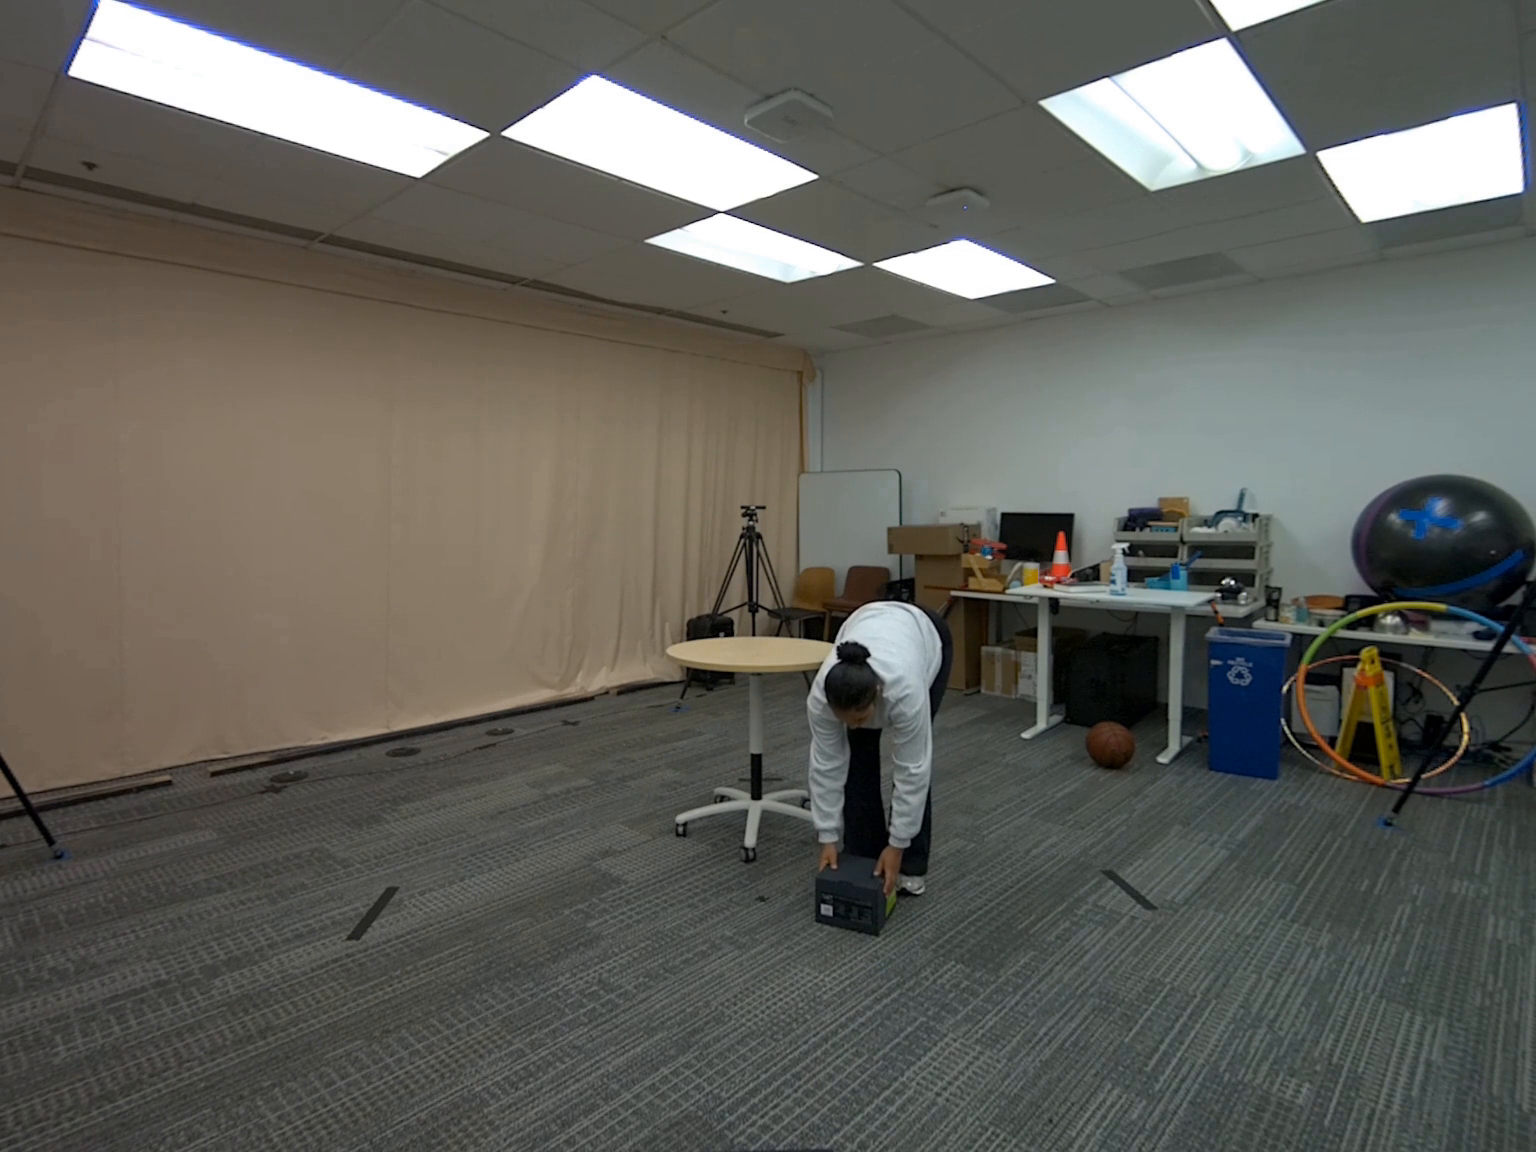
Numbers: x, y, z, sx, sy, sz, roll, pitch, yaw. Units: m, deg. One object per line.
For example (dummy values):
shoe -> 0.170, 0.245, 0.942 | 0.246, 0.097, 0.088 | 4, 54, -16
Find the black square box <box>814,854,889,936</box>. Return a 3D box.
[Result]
black square box -> 0.305, 1.063, 2.862 | 0.222, 0.155, 0.223 | 2, 5, 25
